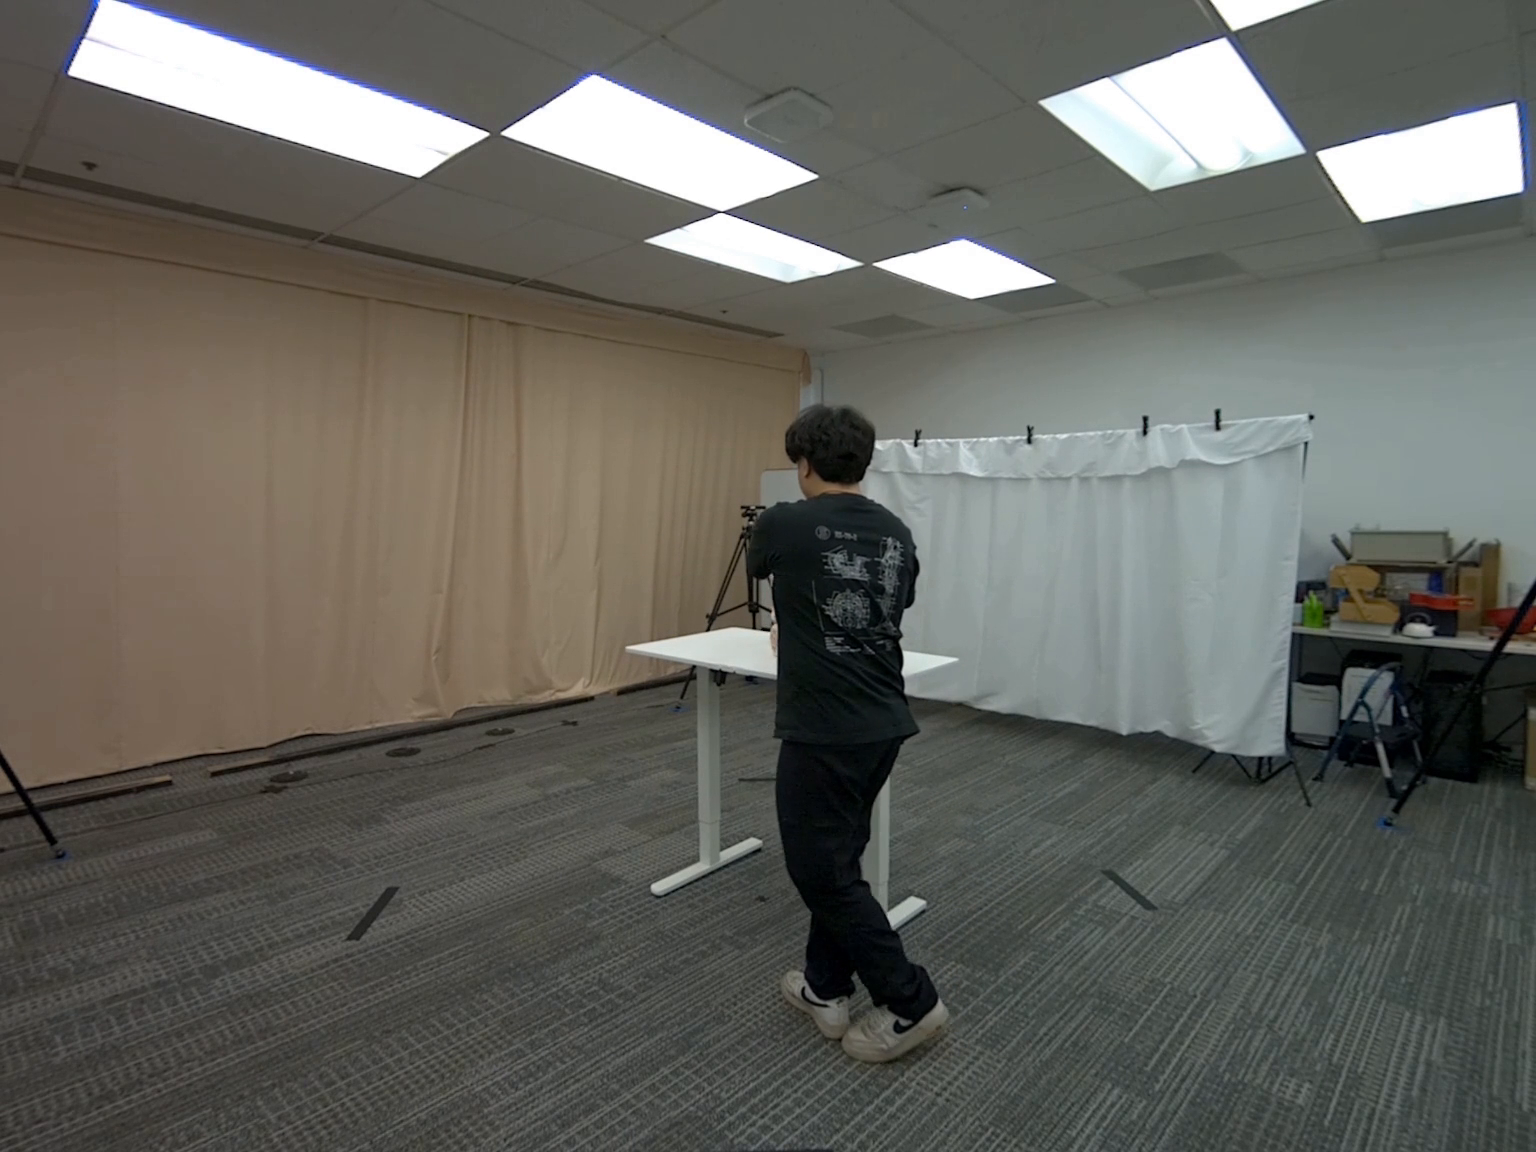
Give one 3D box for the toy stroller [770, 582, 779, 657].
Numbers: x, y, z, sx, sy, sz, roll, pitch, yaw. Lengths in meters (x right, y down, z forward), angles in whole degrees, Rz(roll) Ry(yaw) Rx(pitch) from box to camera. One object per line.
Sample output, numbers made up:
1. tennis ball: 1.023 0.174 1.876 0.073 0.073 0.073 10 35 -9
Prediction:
1. toy stroller: 0.143 0.042 2.916 0.279 0.529 0.348 1 20 -9
